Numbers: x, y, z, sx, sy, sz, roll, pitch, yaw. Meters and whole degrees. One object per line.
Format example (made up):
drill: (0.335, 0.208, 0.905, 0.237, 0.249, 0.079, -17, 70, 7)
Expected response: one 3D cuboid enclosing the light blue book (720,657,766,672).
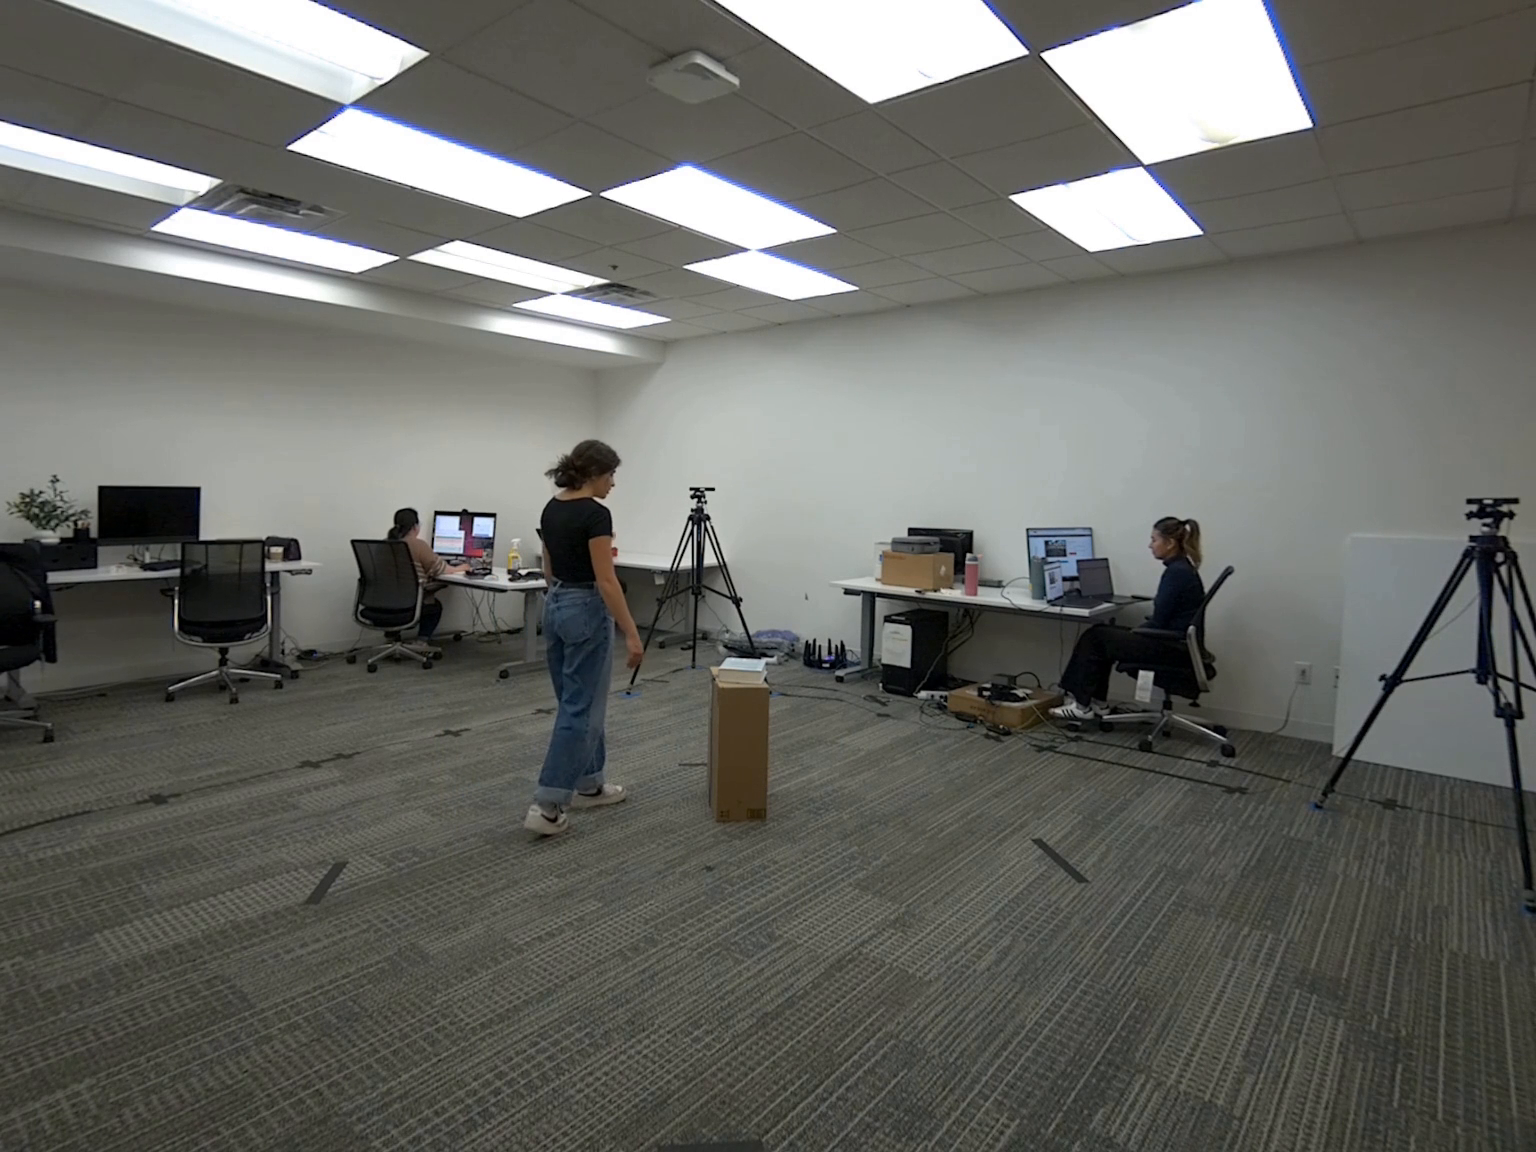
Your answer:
light blue book: (-0.127, 0.419, 3.766, 0.193, 0.059, 0.260, 2, 5, 6)
